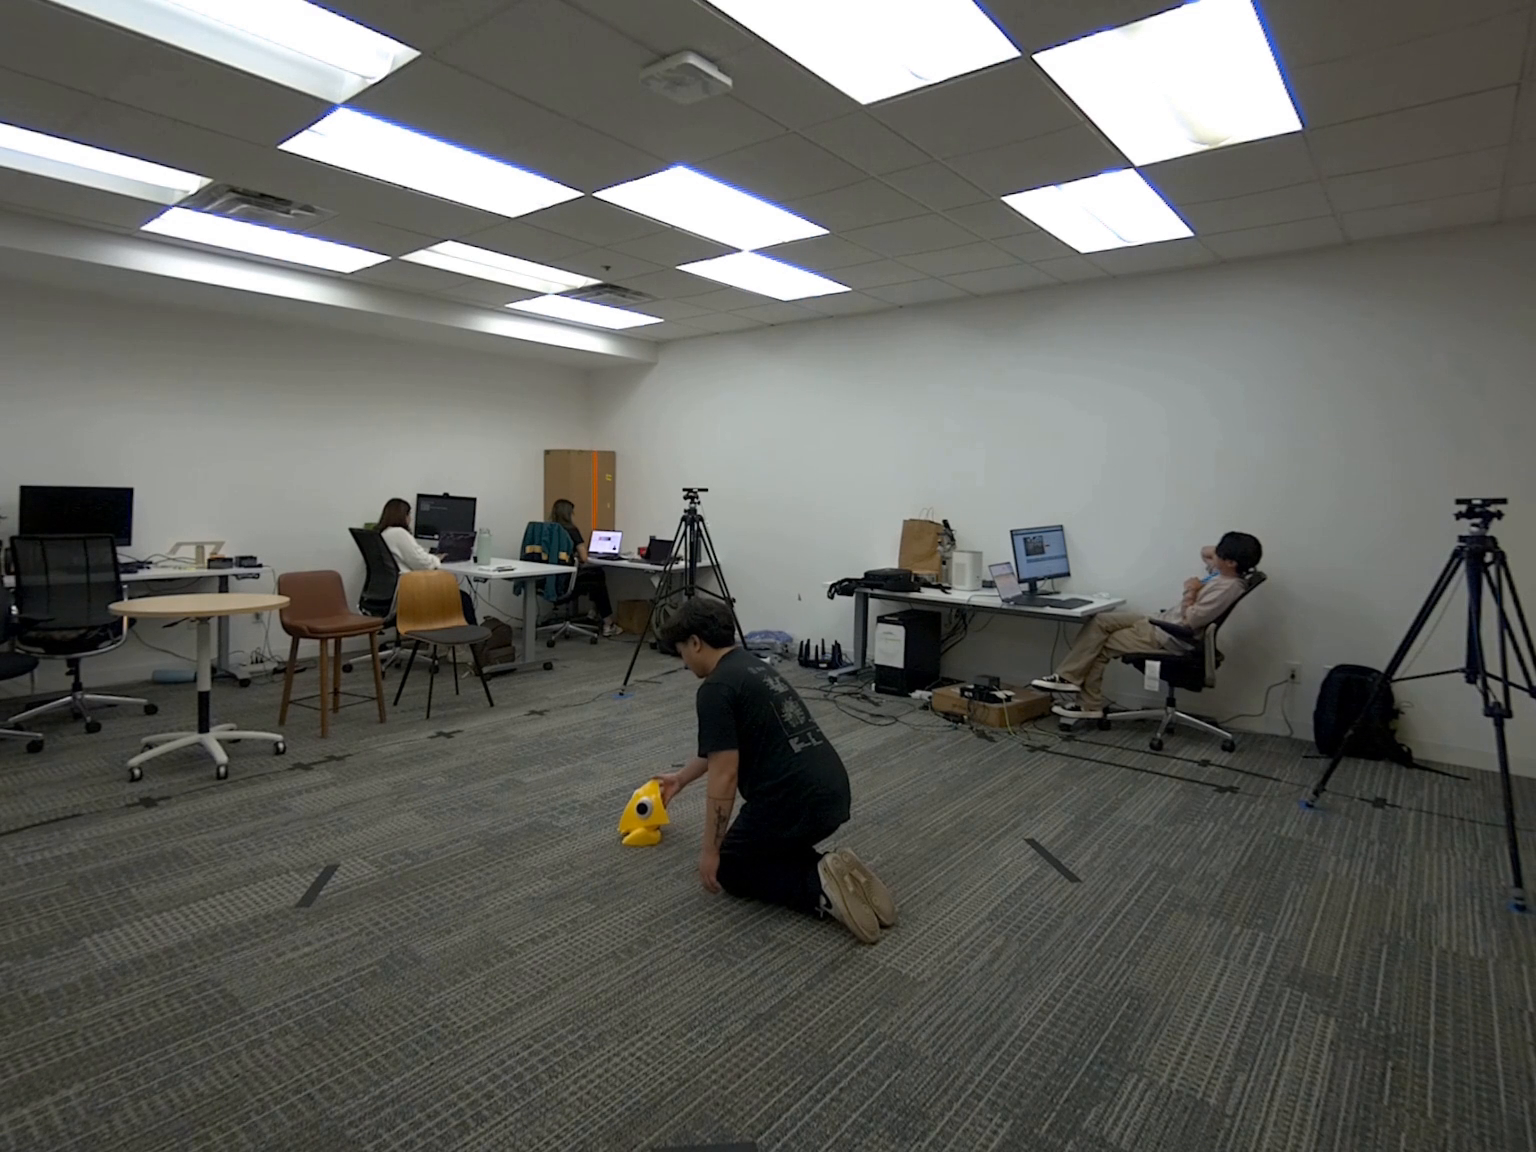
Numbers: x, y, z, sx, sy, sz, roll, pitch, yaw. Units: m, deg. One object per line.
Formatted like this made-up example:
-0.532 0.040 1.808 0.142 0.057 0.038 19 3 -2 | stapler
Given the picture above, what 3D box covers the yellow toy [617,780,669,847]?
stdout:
-0.515 0.923 3.403 0.190 0.230 0.209 0 4 -17 | yellow toy
